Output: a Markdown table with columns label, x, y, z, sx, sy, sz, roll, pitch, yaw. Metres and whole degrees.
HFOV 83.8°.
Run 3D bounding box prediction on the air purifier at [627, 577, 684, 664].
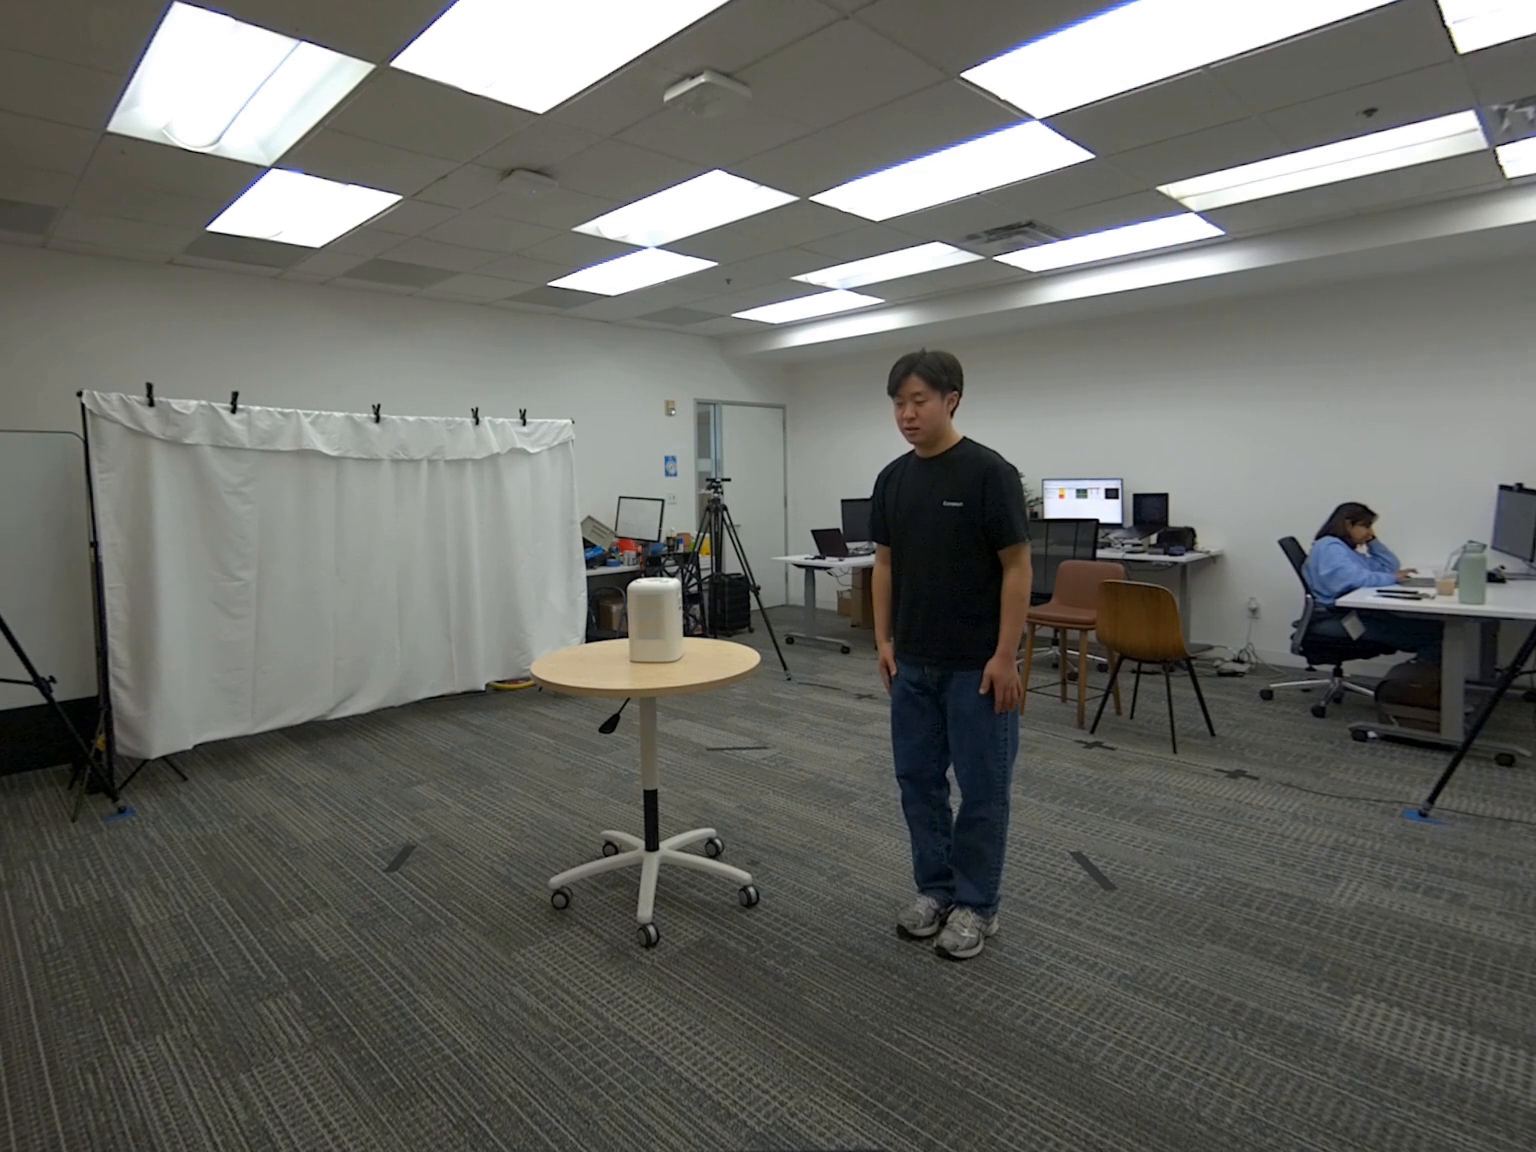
| label | x | y | z | sx | sy | sz | roll | pitch | yaw |
| --- | --- | --- | --- | --- | --- | --- | --- | --- | --- |
| air purifier | -0.376 | 0.146 | 2.884 | 0.173 | 0.264 | 0.170 | 2 | 6 | 9 |
